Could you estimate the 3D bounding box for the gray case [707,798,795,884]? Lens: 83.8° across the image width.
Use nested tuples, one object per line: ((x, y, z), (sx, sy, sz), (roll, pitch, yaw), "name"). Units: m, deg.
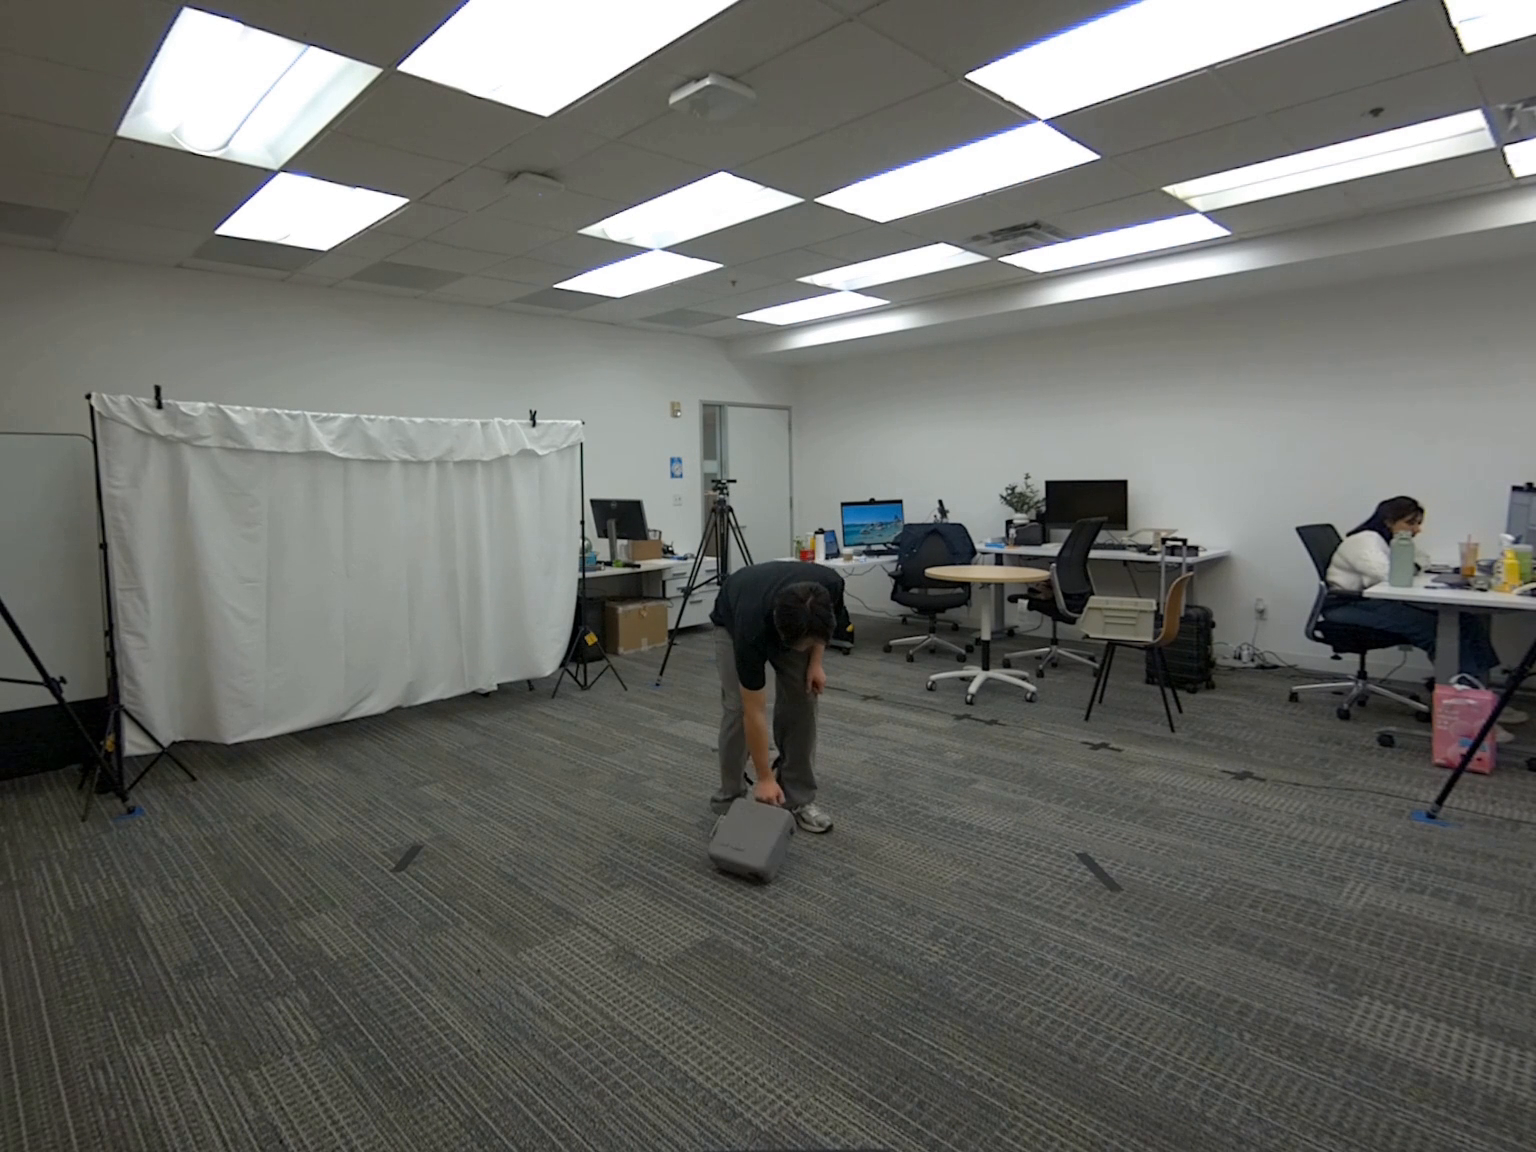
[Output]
((-0.056, 0.942, 3.060), (0.270, 0.099, 0.289), (0, 43, 34), "gray case")
